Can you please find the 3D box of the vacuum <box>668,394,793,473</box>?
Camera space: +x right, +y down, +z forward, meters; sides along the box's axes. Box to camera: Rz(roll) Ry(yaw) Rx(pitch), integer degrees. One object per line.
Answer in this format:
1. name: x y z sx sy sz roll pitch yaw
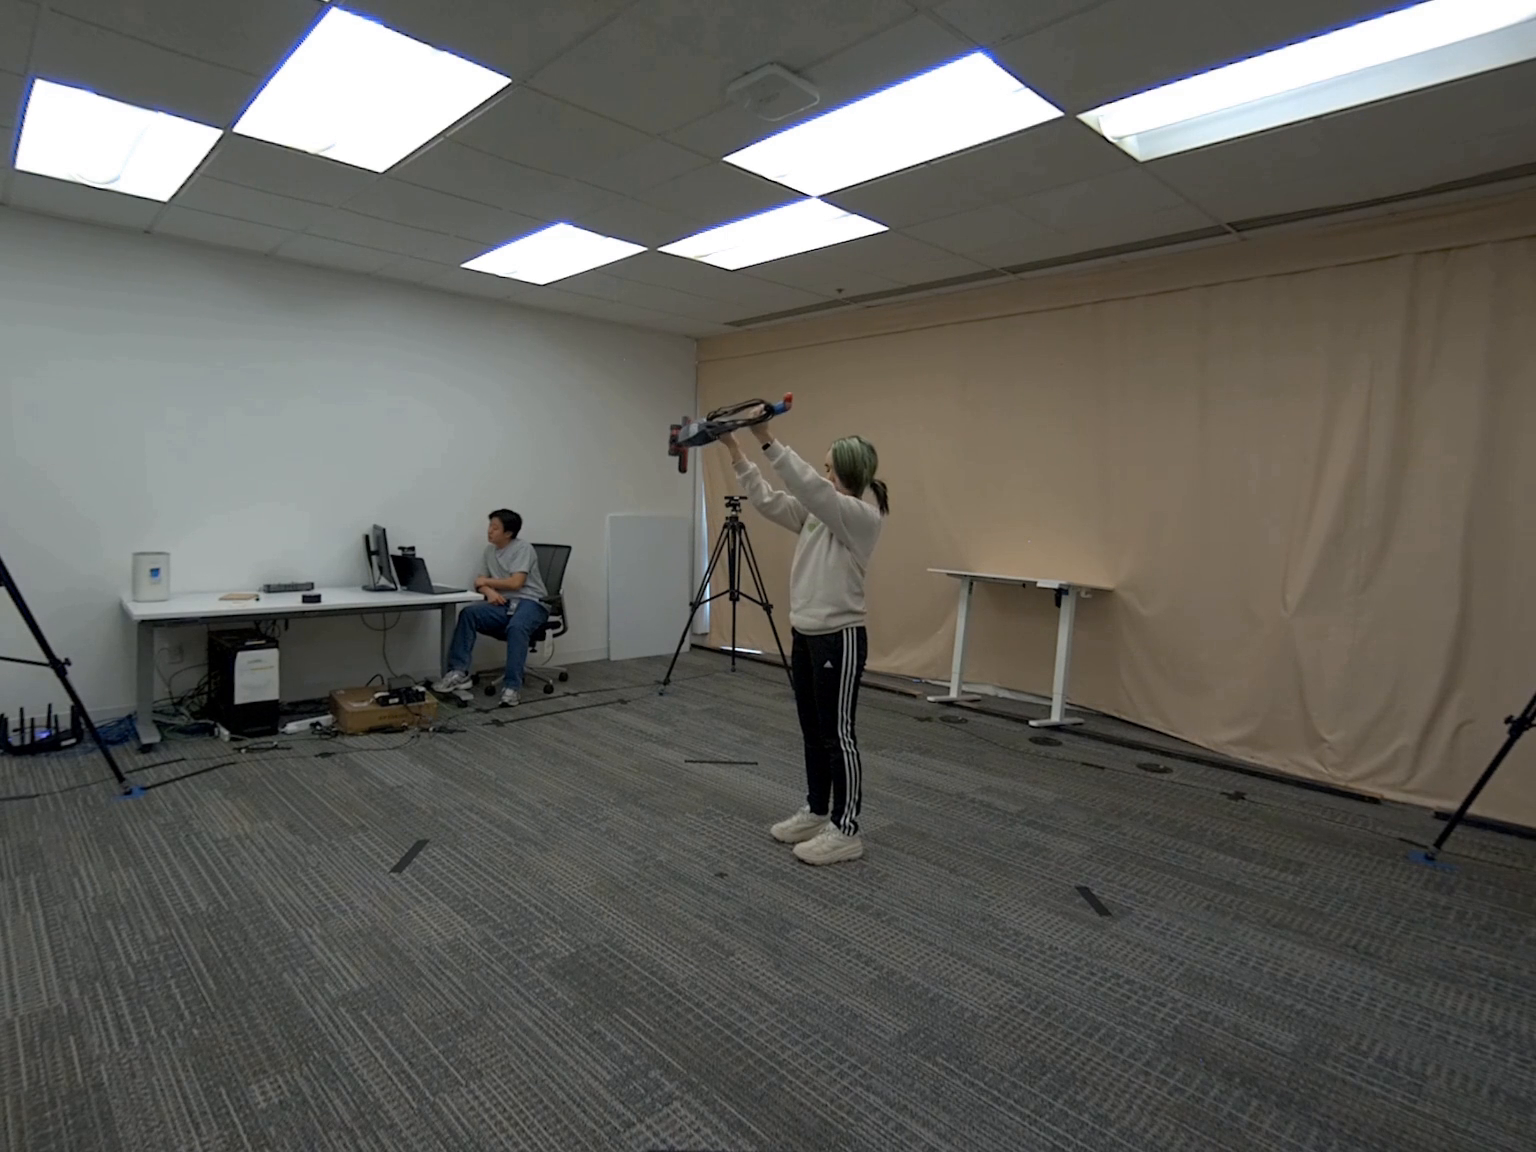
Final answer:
1. vacuum: -0.165 -0.578 3.207 0.141 0.253 1.066 7 -3 -24
